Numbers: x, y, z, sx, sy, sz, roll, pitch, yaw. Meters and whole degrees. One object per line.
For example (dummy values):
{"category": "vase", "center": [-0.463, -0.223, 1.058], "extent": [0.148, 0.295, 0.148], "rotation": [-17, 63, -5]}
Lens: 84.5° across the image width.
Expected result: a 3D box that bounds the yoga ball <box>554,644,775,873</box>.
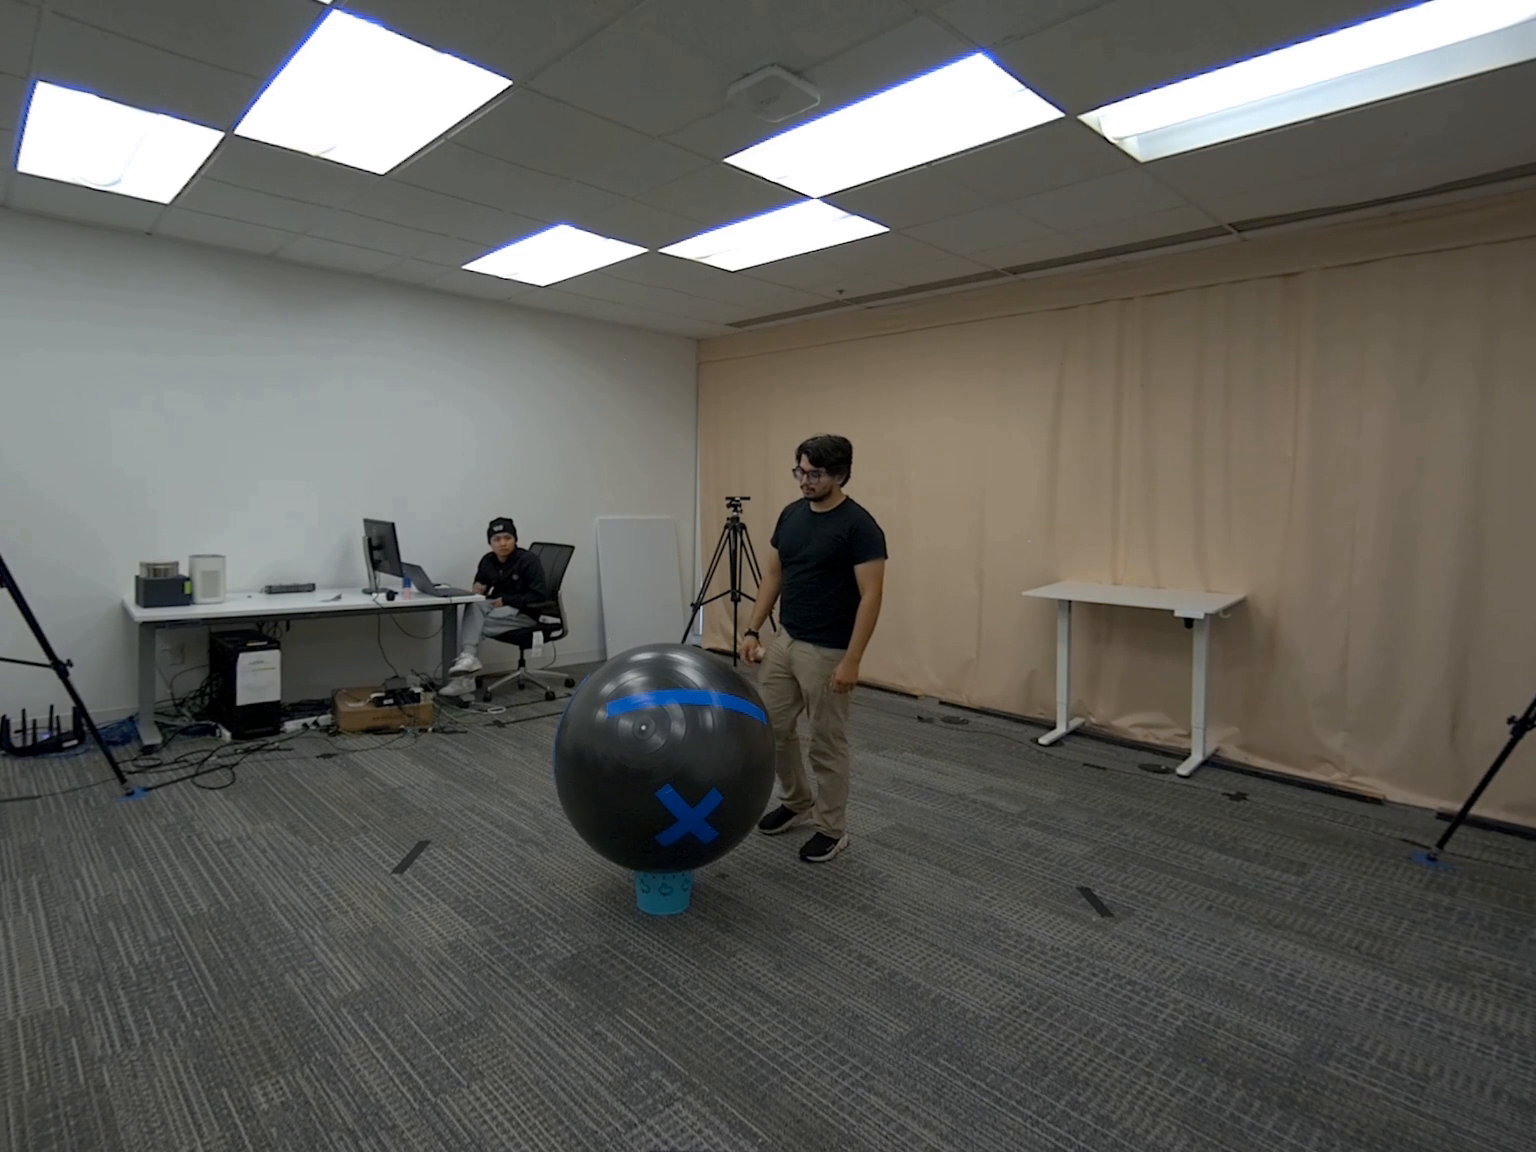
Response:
{"category": "yoga ball", "center": [-0.352, 0.619, 2.869], "extent": [0.757, 0.756, 0.761], "rotation": [1, 4, -1]}
